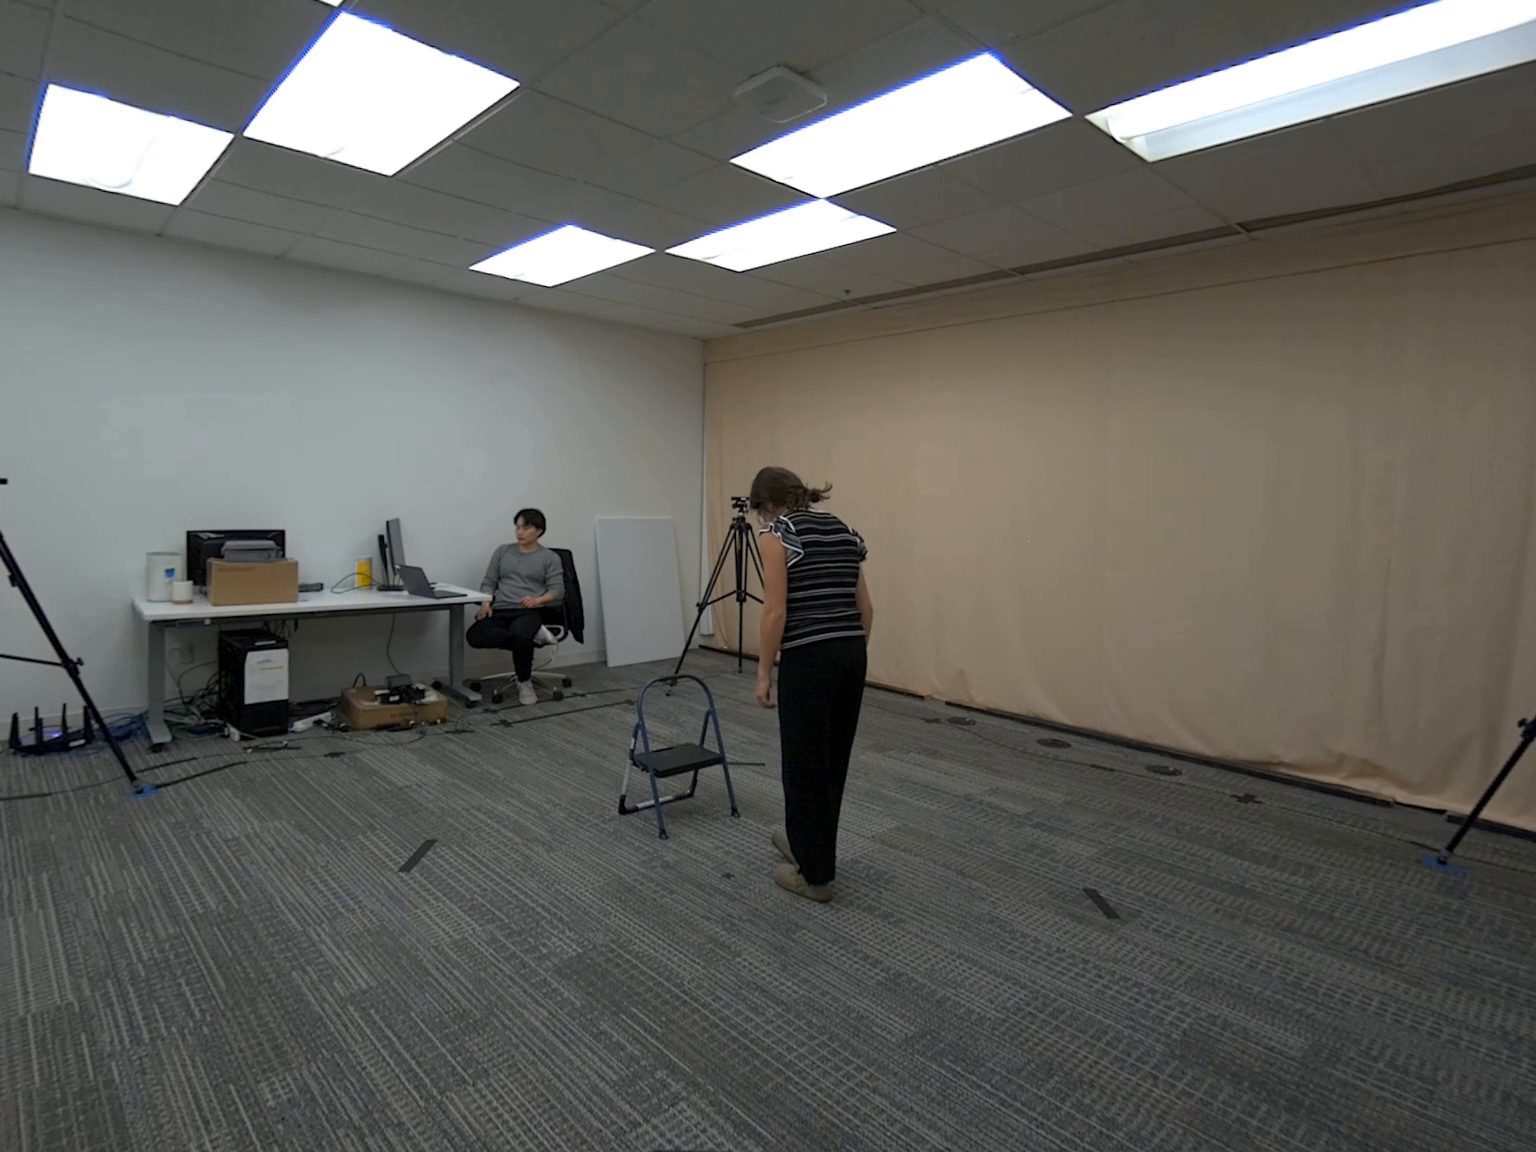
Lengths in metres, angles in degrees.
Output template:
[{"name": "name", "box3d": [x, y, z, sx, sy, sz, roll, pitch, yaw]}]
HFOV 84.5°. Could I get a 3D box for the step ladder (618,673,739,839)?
[{"name": "step ladder", "box3d": [-0.392, 0.750, 3.678, 0.420, 0.605, 0.358, -1, 4, -43]}]
